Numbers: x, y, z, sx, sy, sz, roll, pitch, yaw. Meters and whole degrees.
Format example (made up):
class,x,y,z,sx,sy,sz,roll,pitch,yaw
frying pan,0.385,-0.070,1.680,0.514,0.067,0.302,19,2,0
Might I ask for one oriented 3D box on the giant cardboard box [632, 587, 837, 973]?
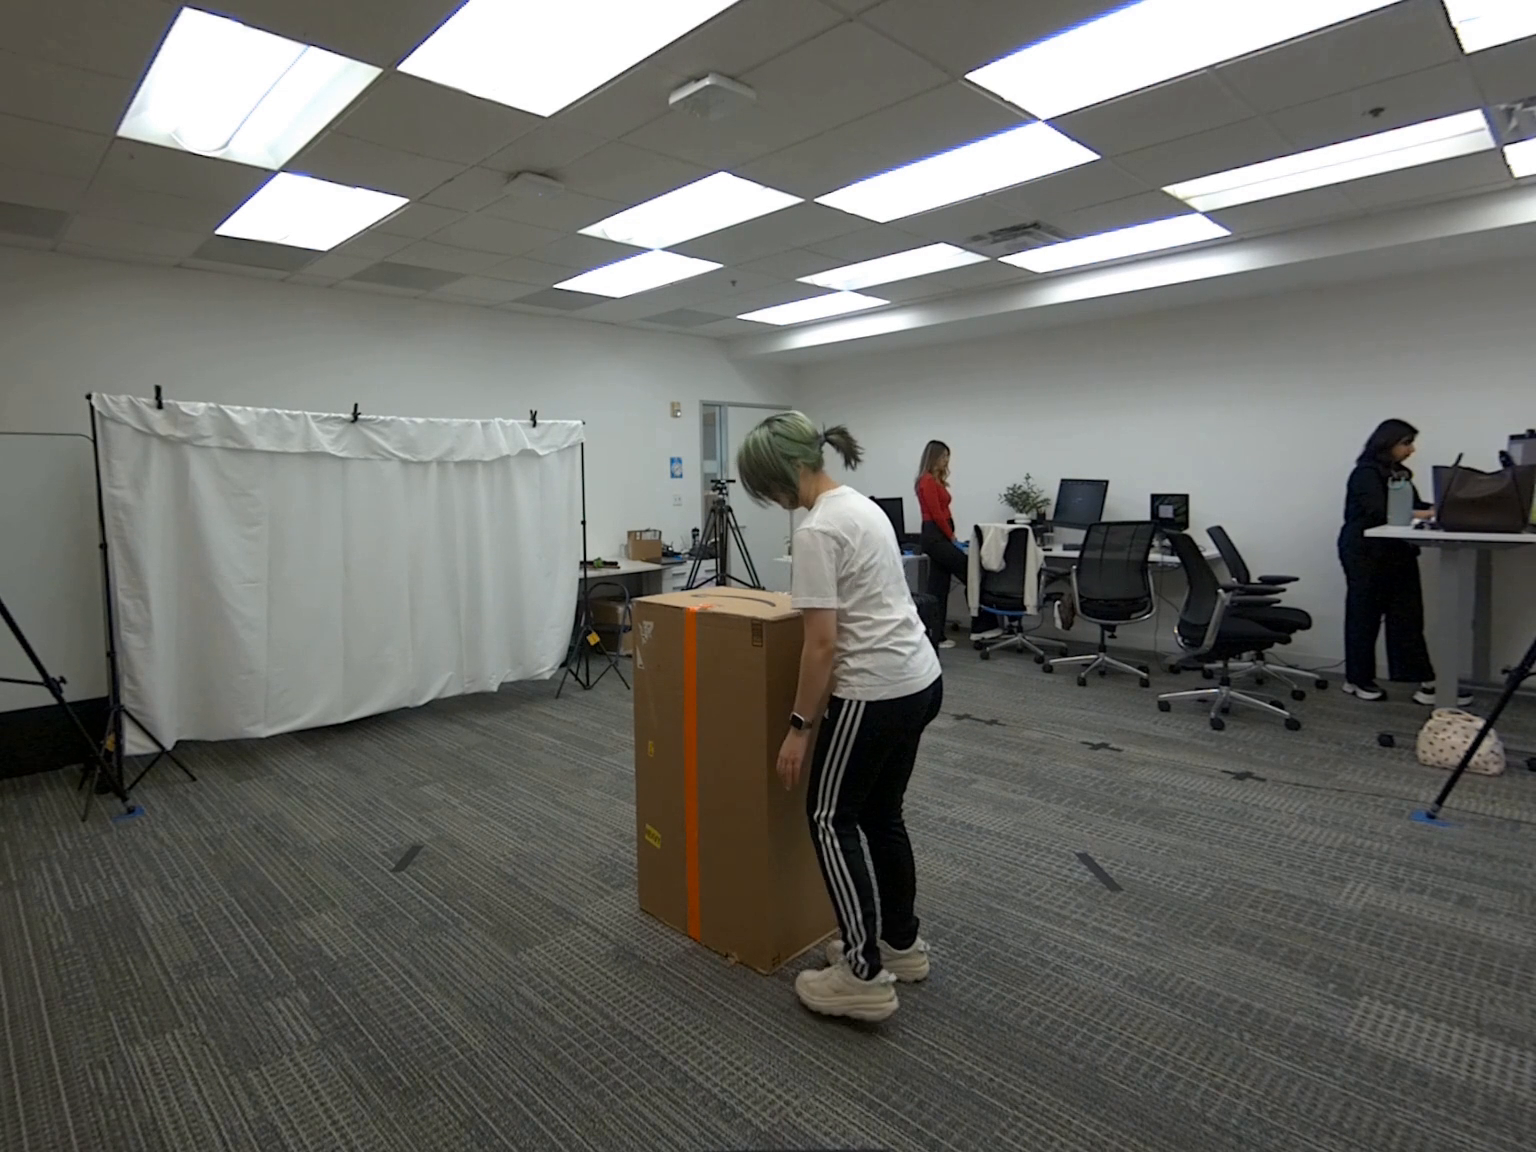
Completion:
class,x,y,z,sx,sy,sz,roll,pitch,yaw
giant cardboard box,-0.085,0.585,2.718,0.602,1.024,0.435,3,5,42
